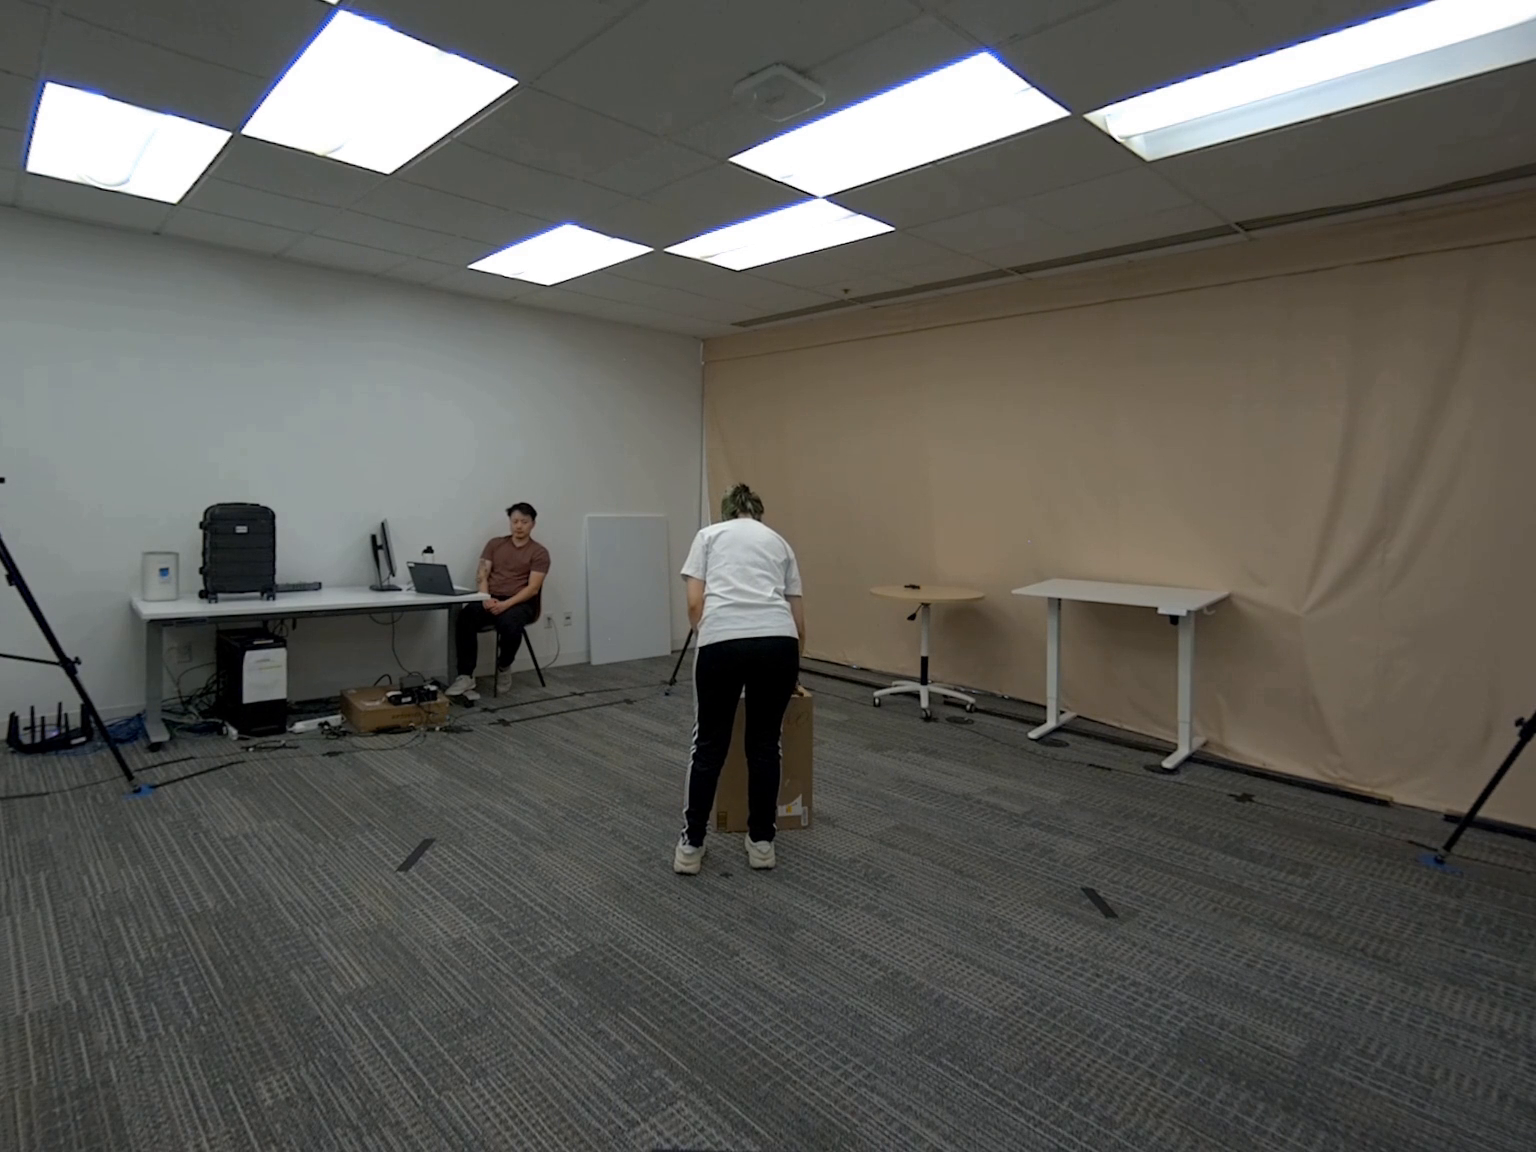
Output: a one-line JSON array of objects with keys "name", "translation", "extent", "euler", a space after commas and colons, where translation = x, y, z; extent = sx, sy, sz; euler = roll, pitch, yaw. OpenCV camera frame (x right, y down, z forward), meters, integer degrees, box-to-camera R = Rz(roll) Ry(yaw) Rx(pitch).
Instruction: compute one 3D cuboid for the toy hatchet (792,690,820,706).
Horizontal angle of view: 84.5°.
[{"name": "toy hatchet", "translation": [0.075, 0.483, 3.577], "extent": [0.127, 0.030, 0.277], "euler": [23, -7, -37]}]
